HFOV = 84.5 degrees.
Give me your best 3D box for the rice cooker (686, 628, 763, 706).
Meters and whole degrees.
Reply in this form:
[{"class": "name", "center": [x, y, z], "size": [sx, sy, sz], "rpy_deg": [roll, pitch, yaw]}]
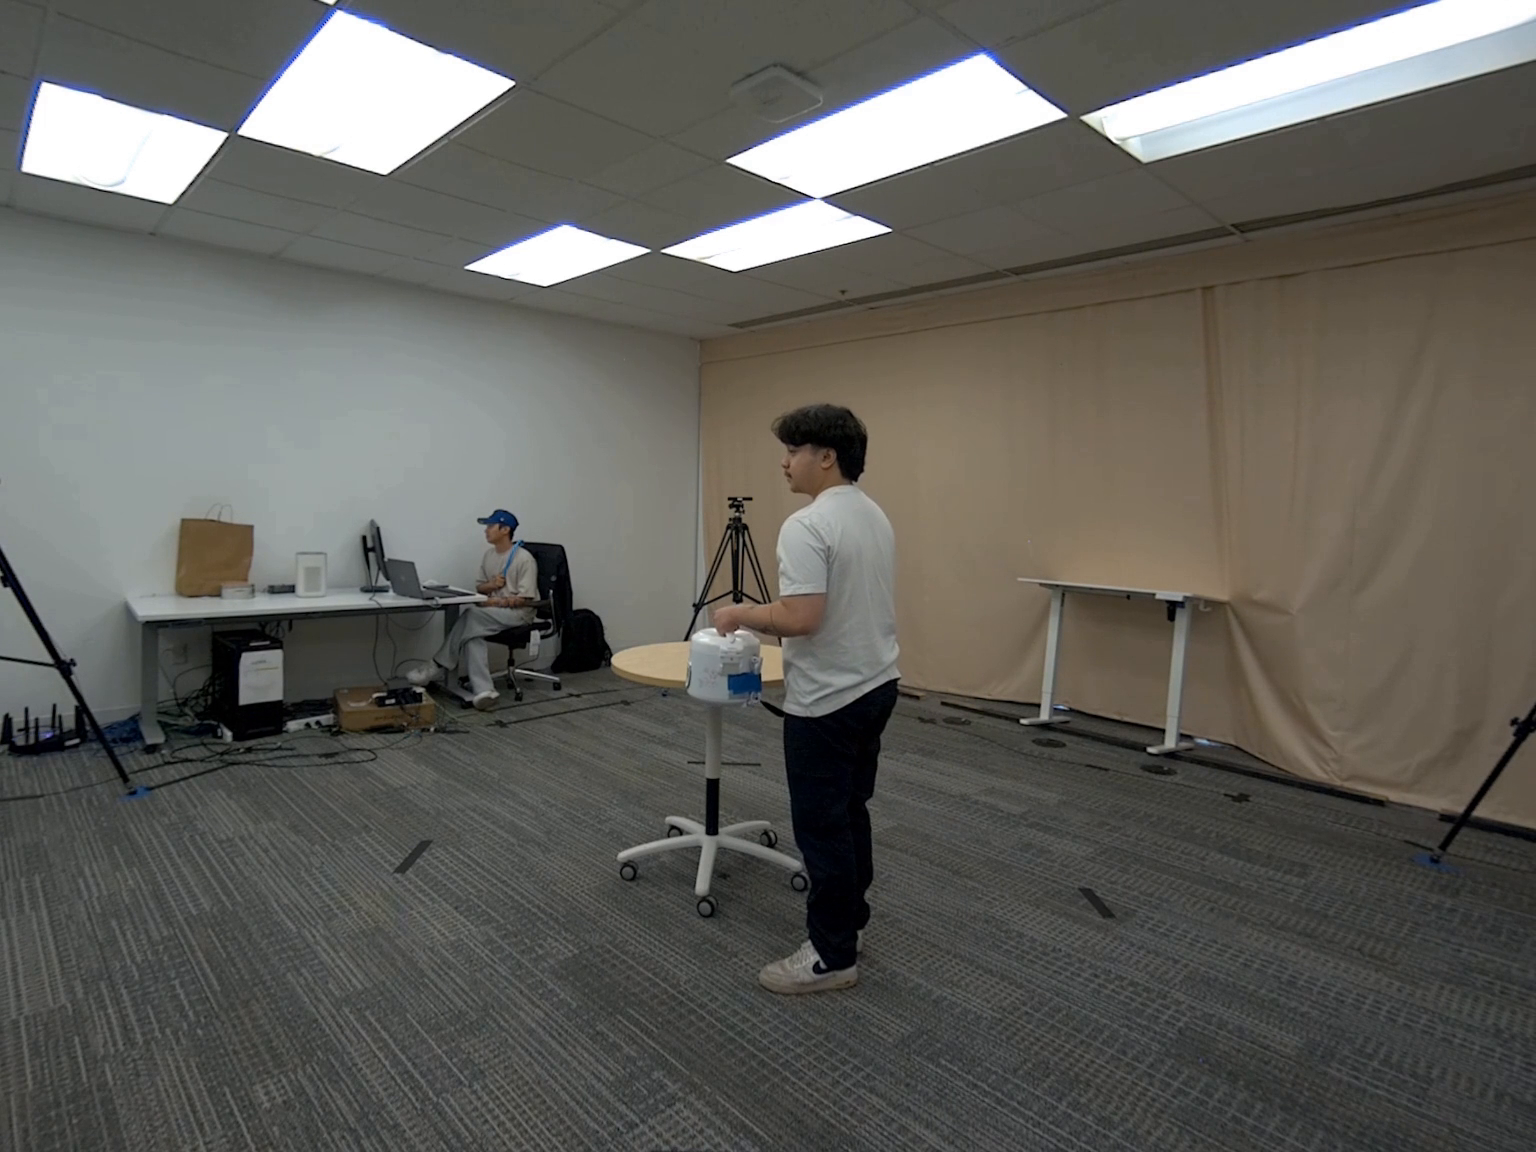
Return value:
[{"class": "rice cooker", "center": [-0.137, 0.261, 2.529], "size": [0.215, 0.232, 0.223], "rpy_deg": [3, 5, -11]}]
